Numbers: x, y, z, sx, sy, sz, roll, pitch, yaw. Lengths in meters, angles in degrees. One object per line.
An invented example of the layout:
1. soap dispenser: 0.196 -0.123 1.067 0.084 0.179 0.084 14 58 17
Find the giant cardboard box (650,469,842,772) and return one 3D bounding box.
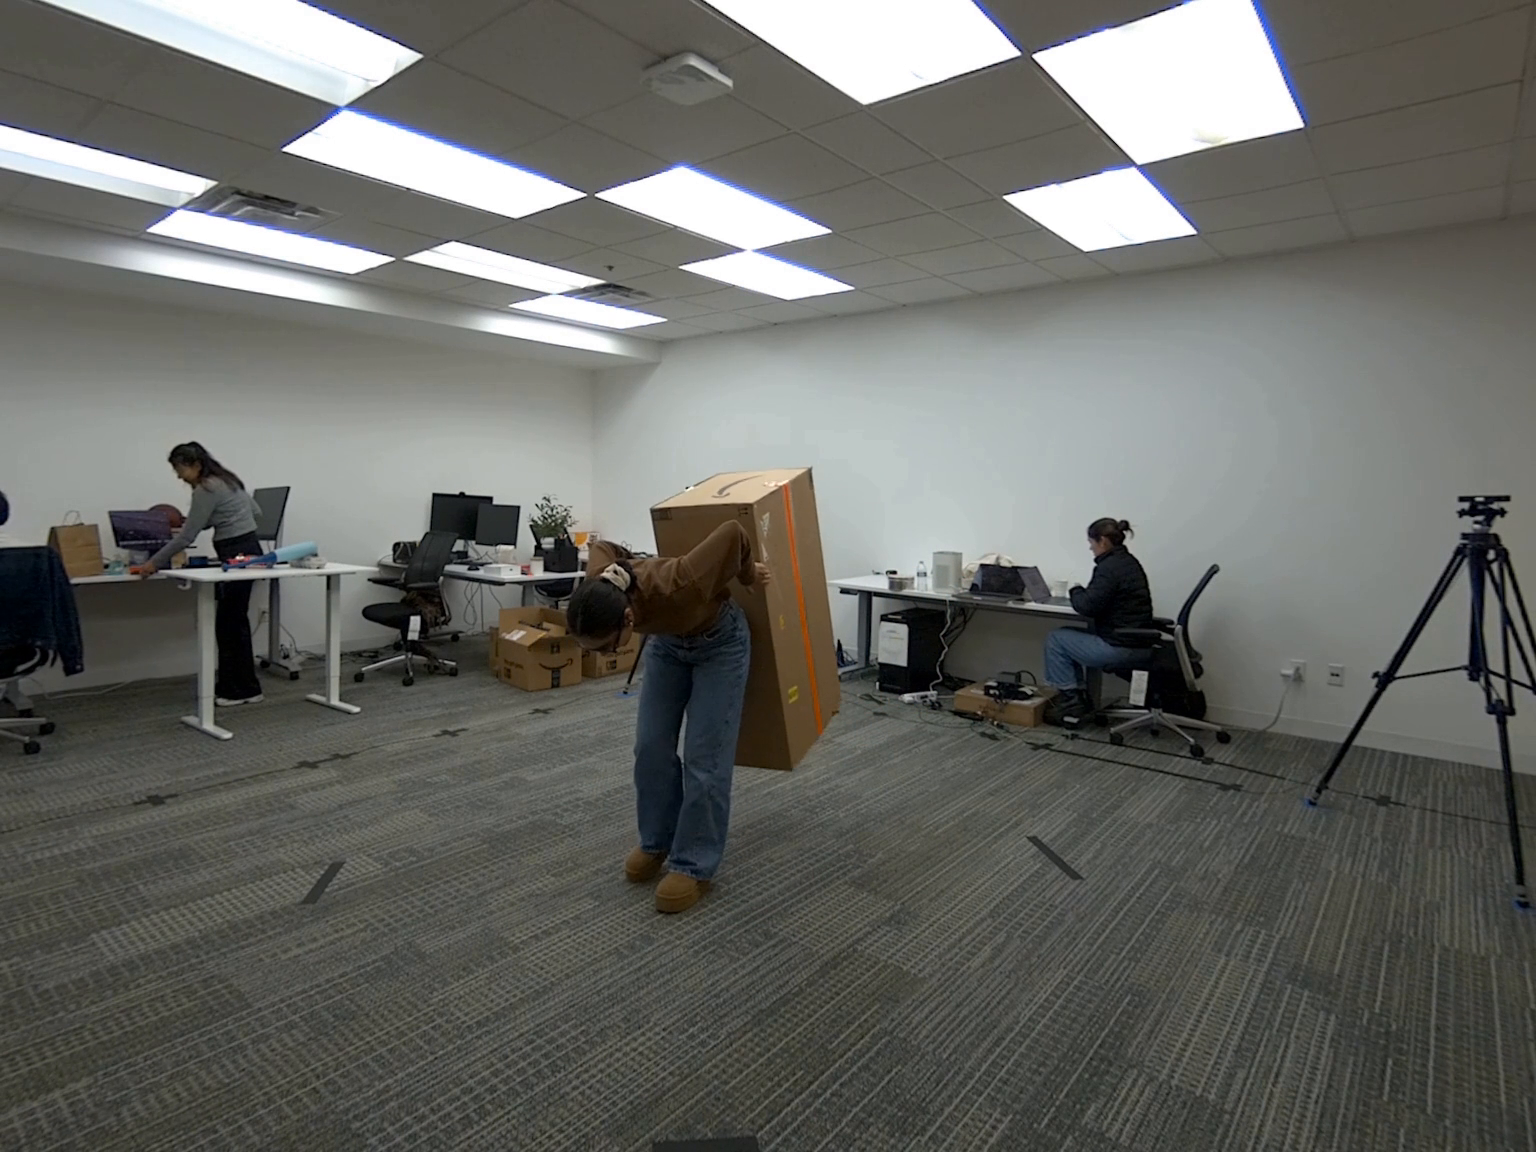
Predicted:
1. giant cardboard box: -0.067 0.144 3.350 0.458 1.012 0.578 -2 15 26
